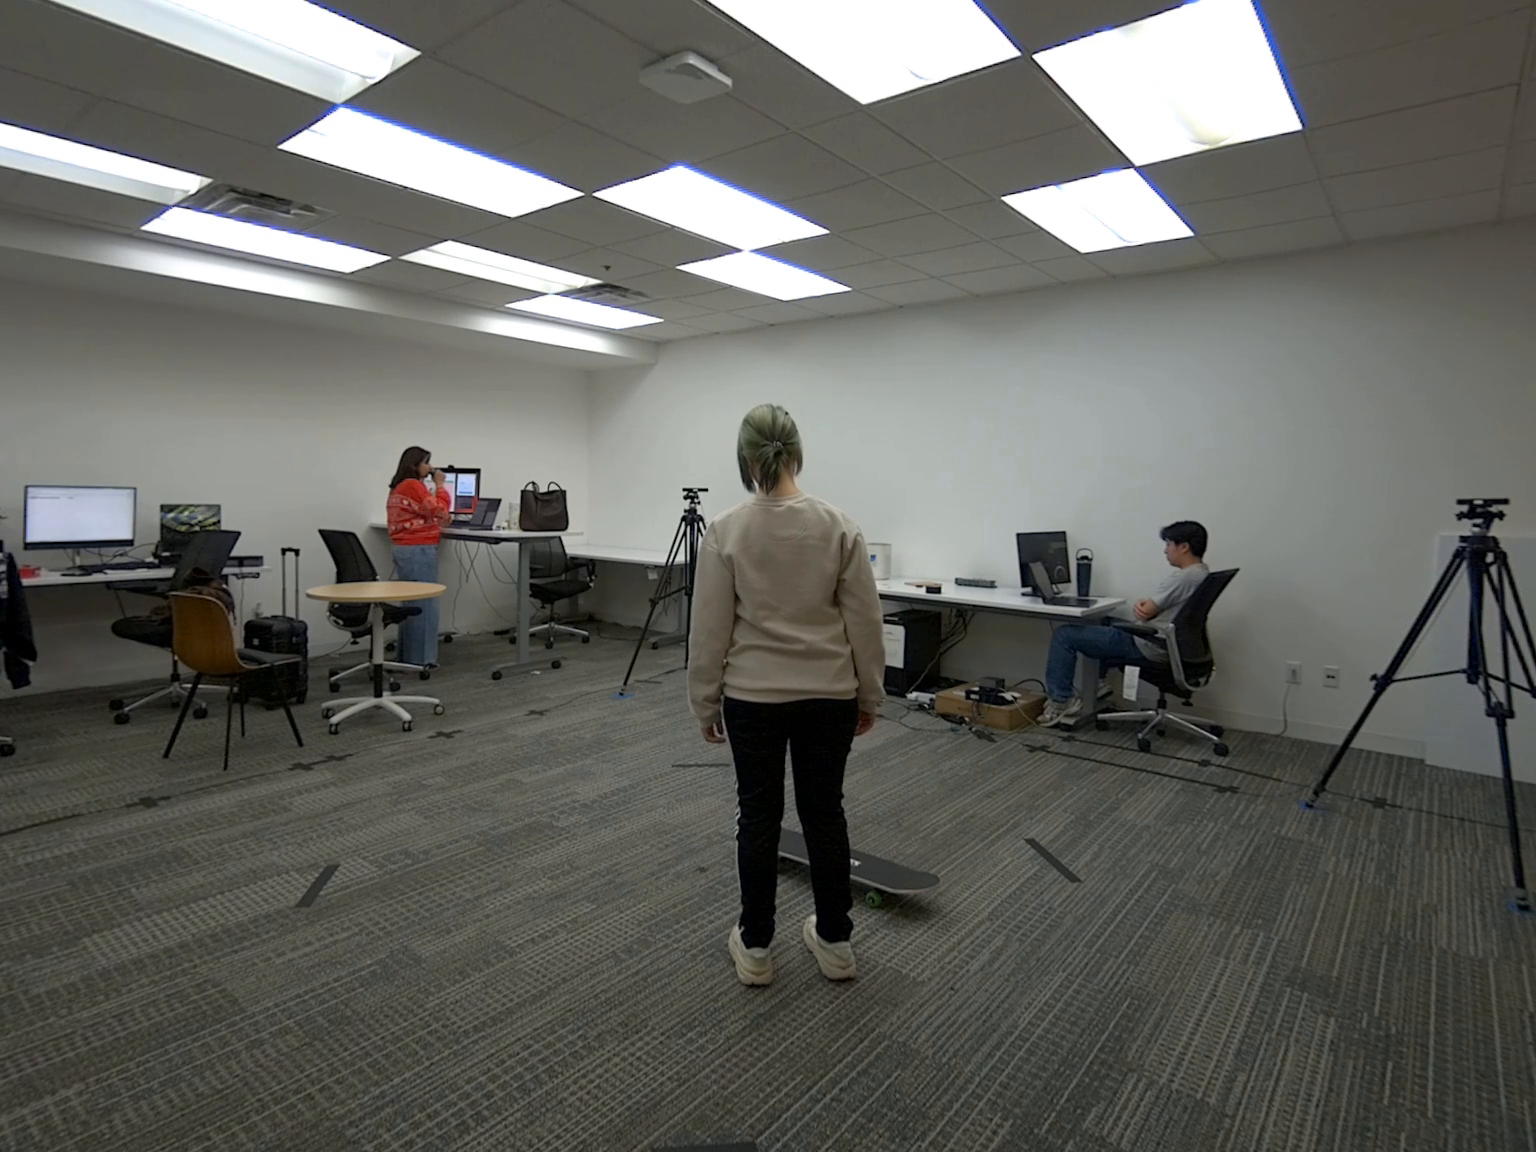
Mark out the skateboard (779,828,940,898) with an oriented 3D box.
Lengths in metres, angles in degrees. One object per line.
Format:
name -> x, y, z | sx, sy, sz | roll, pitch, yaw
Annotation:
skateboard -> 0.227, 1.030, 3.039 | 0.811, 0.110, 0.188 | 5, 6, 37
